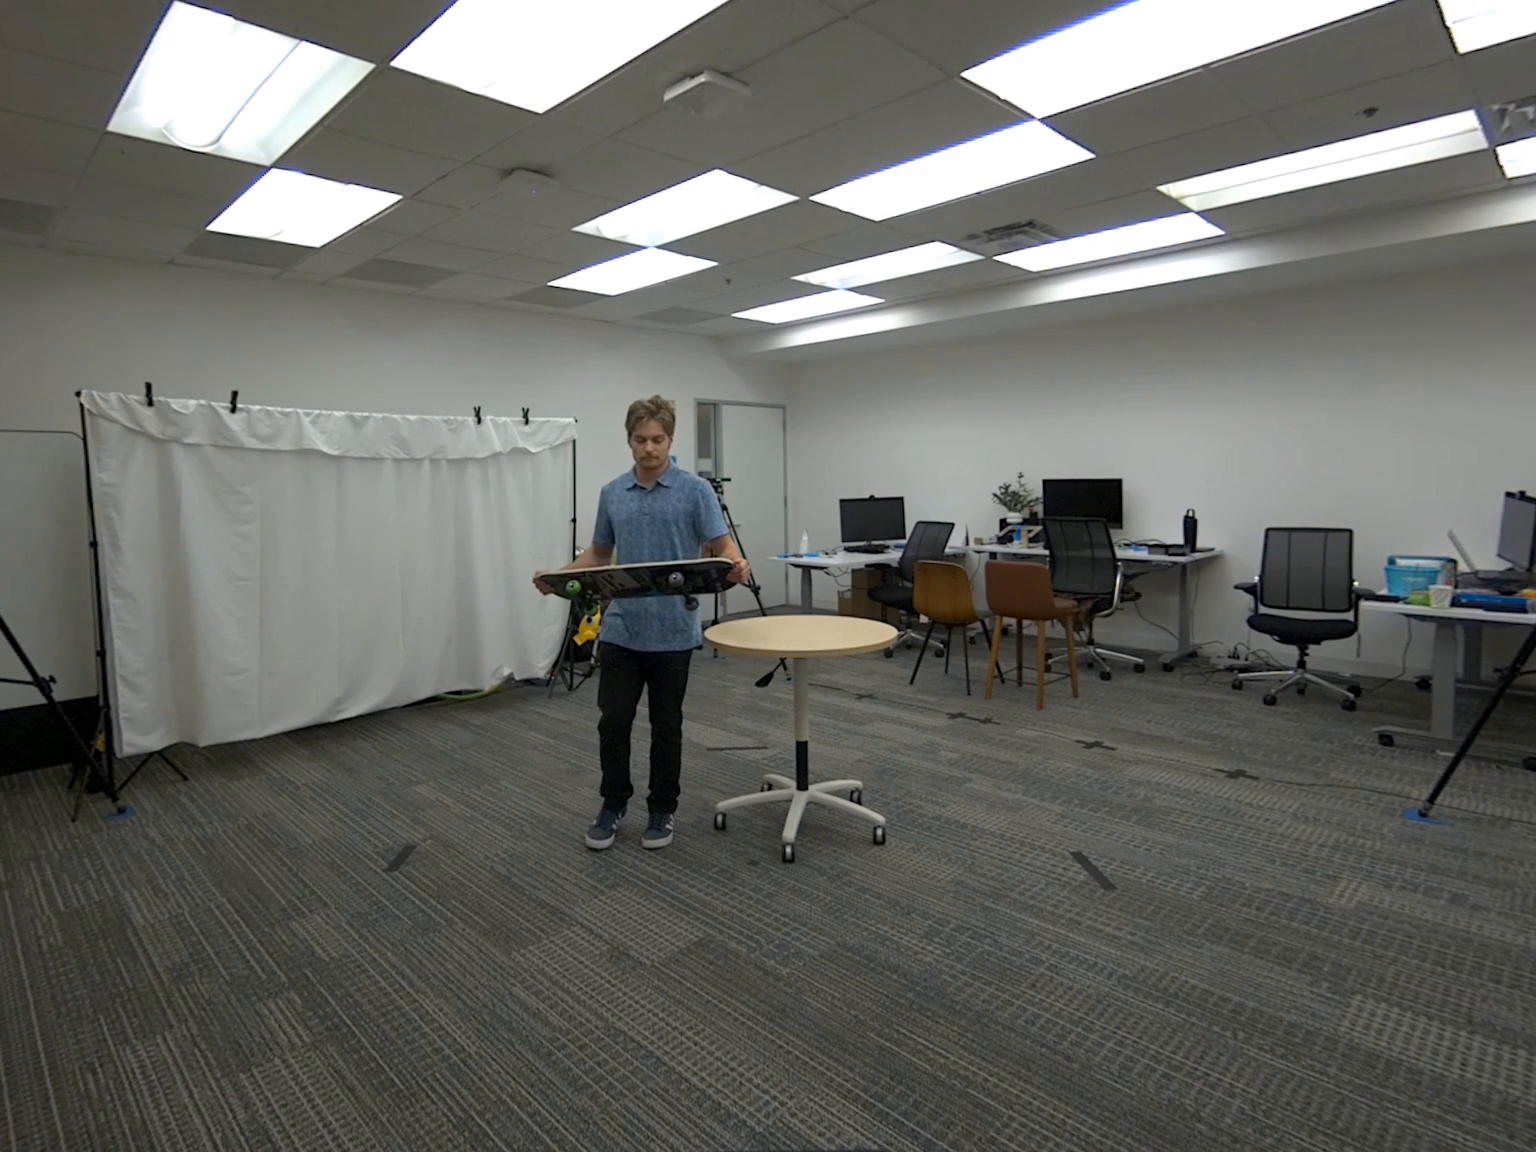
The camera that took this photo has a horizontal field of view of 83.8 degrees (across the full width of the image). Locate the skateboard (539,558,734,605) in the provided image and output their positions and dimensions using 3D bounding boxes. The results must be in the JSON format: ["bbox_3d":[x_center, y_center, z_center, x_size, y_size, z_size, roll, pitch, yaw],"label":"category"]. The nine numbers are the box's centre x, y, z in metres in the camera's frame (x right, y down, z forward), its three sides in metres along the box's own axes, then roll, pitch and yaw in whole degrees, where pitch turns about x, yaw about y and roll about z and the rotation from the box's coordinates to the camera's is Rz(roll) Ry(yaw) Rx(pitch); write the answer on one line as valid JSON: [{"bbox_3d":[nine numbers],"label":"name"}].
[{"bbox_3d":[-0.487,0.049,3.043,0.798,0.112,0.186,-4,-36,18],"label":"skateboard"}]
